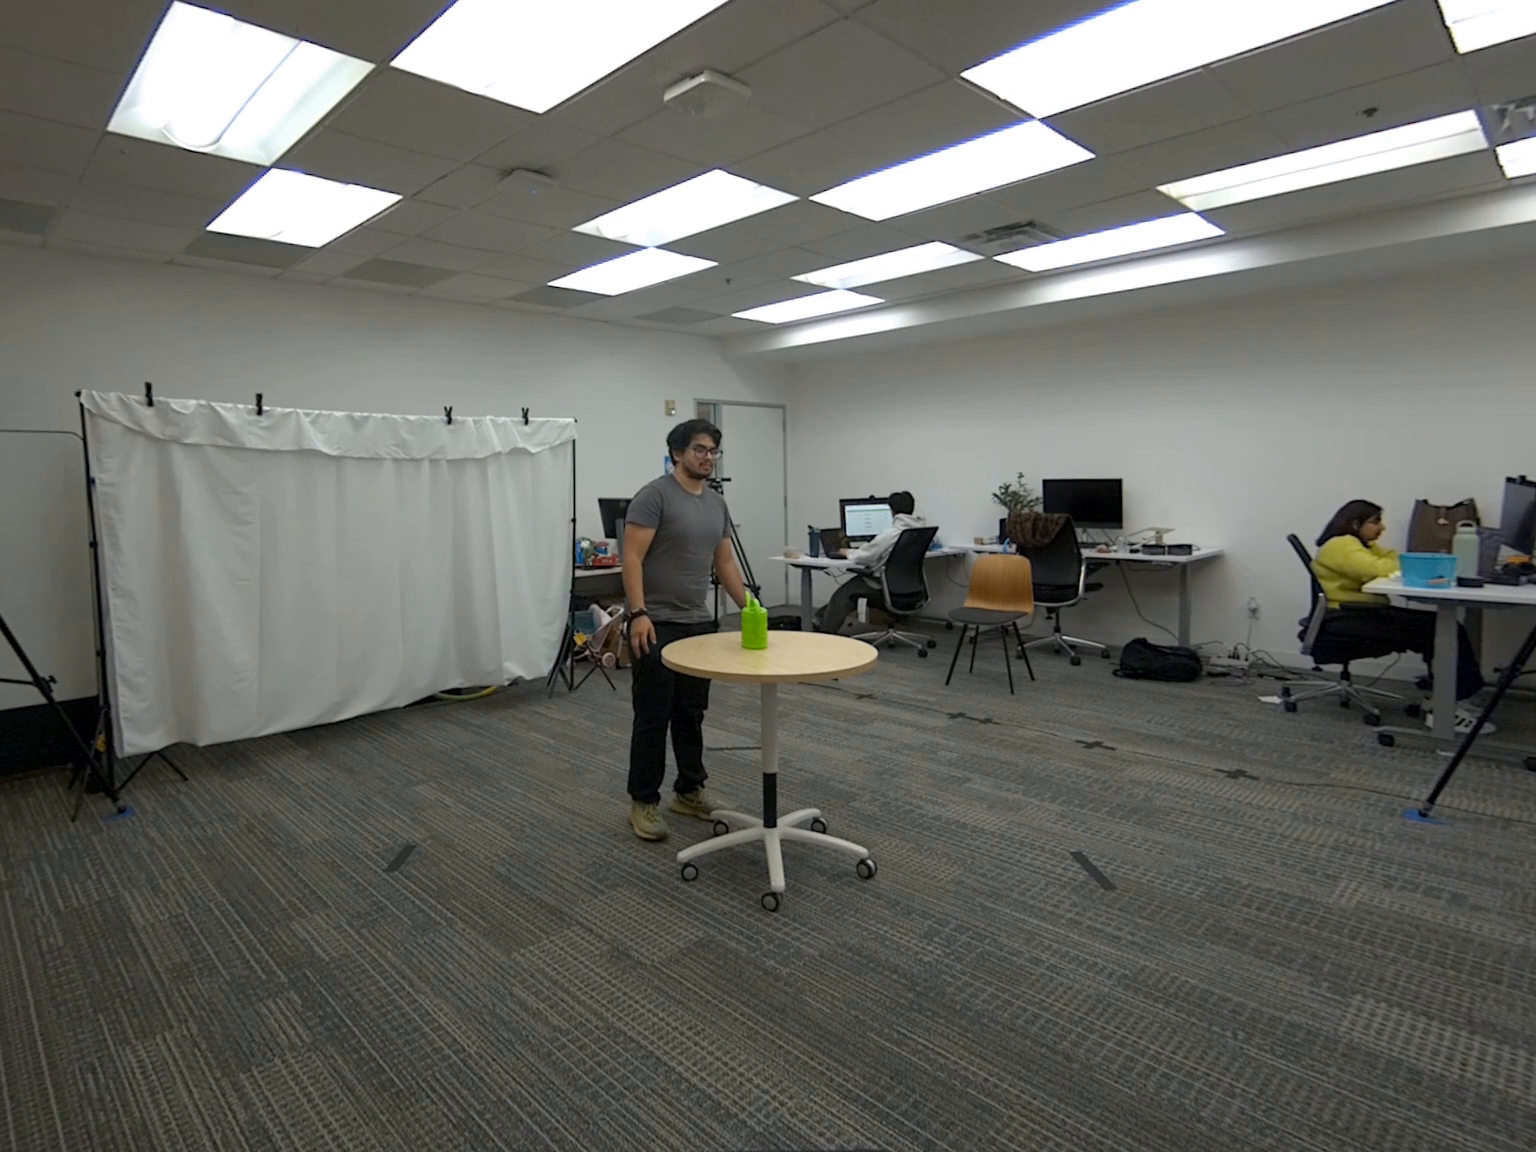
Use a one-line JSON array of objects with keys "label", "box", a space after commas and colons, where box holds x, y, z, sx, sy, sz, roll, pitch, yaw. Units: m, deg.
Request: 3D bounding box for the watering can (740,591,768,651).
[{"label": "watering can", "box": [-0.037, 0.170, 3.156, 0.099, 0.176, 0.277, 1, 5, 8]}]
